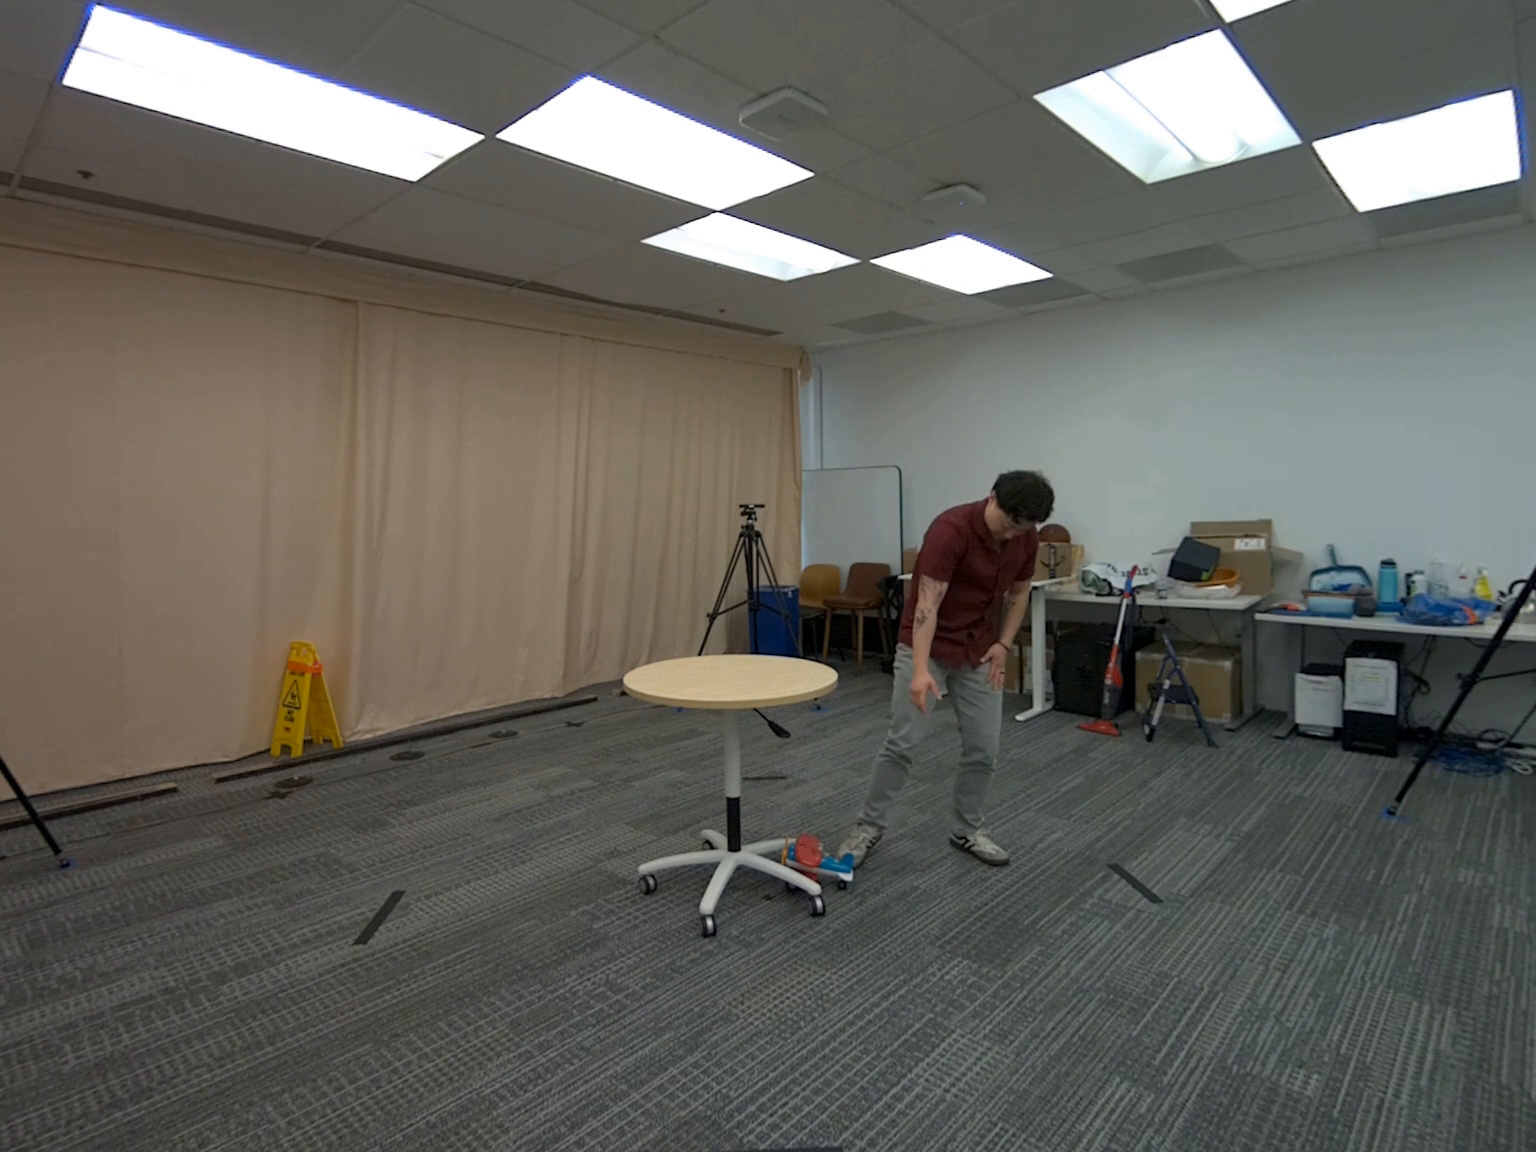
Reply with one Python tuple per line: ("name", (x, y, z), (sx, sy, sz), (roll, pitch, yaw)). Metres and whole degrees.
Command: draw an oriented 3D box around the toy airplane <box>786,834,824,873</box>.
("toy airplane", (0.180, 1.053, 3.064), (0.254, 0.156, 0.257), (-3, 5, -22))
